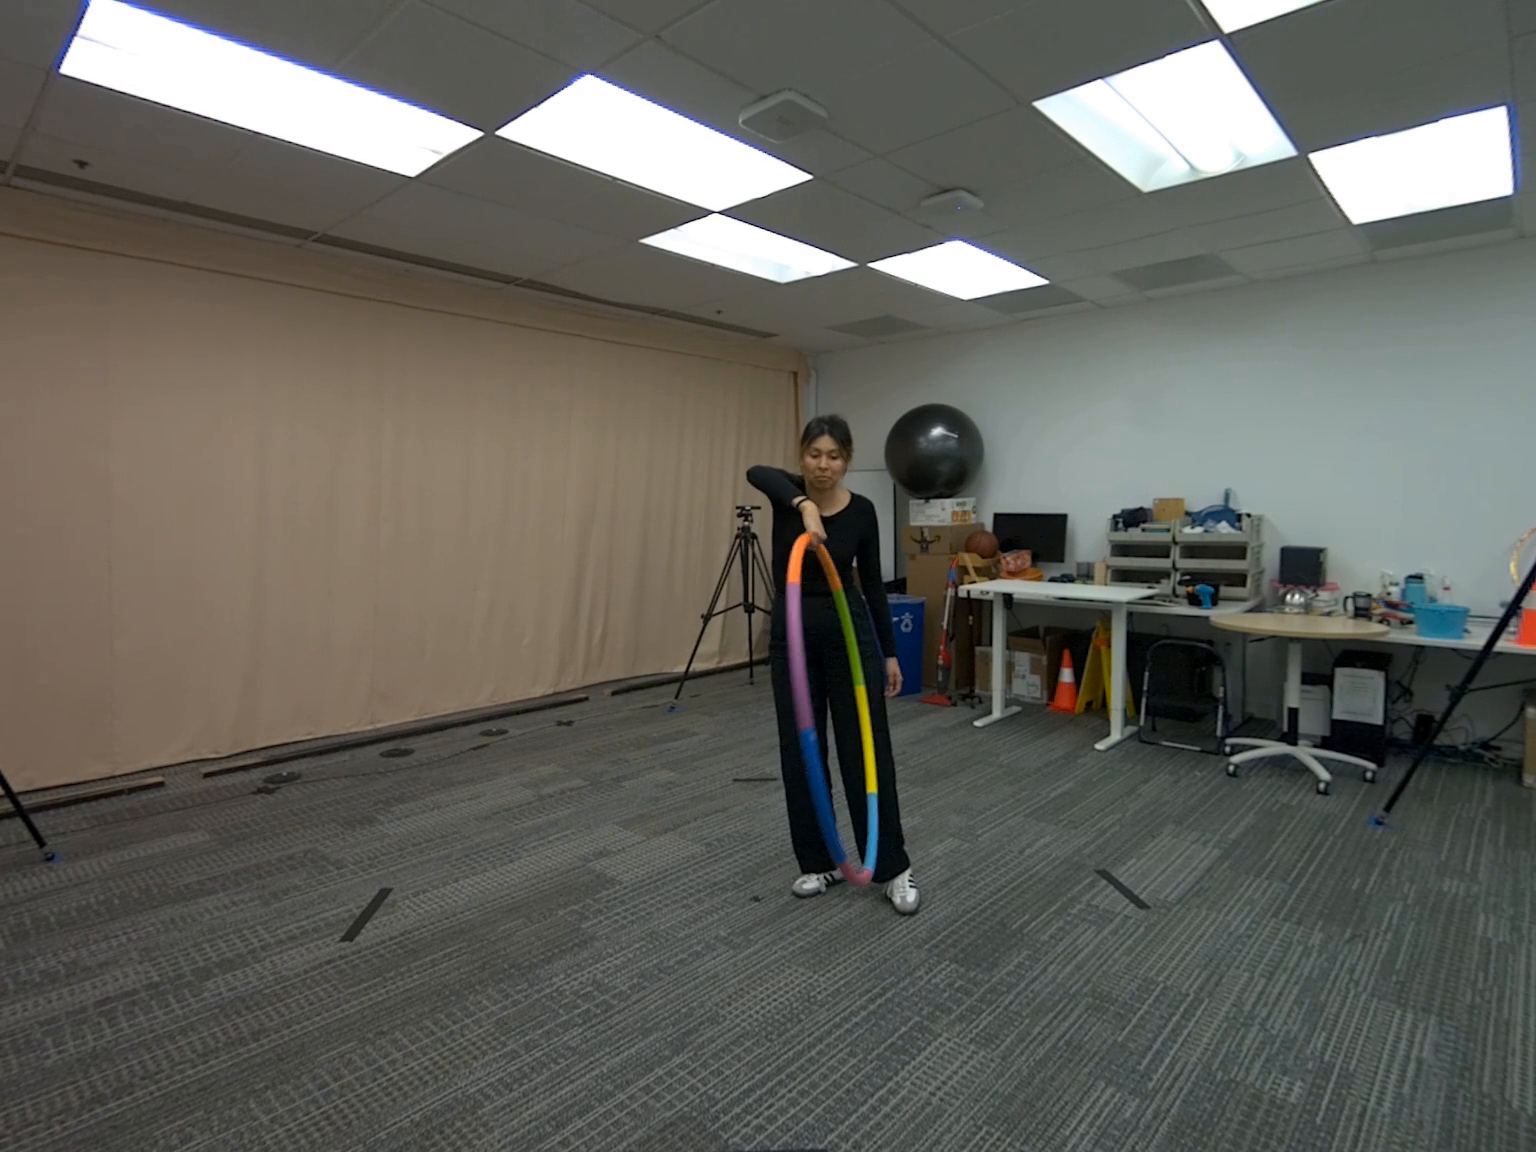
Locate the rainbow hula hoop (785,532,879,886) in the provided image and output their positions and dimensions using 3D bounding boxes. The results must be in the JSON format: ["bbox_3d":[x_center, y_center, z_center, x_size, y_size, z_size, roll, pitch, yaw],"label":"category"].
[{"bbox_3d":[0.199,0.343,2.444,0.052,0.985,0.971,-10,1,15],"label":"rainbow hula hoop"}]
